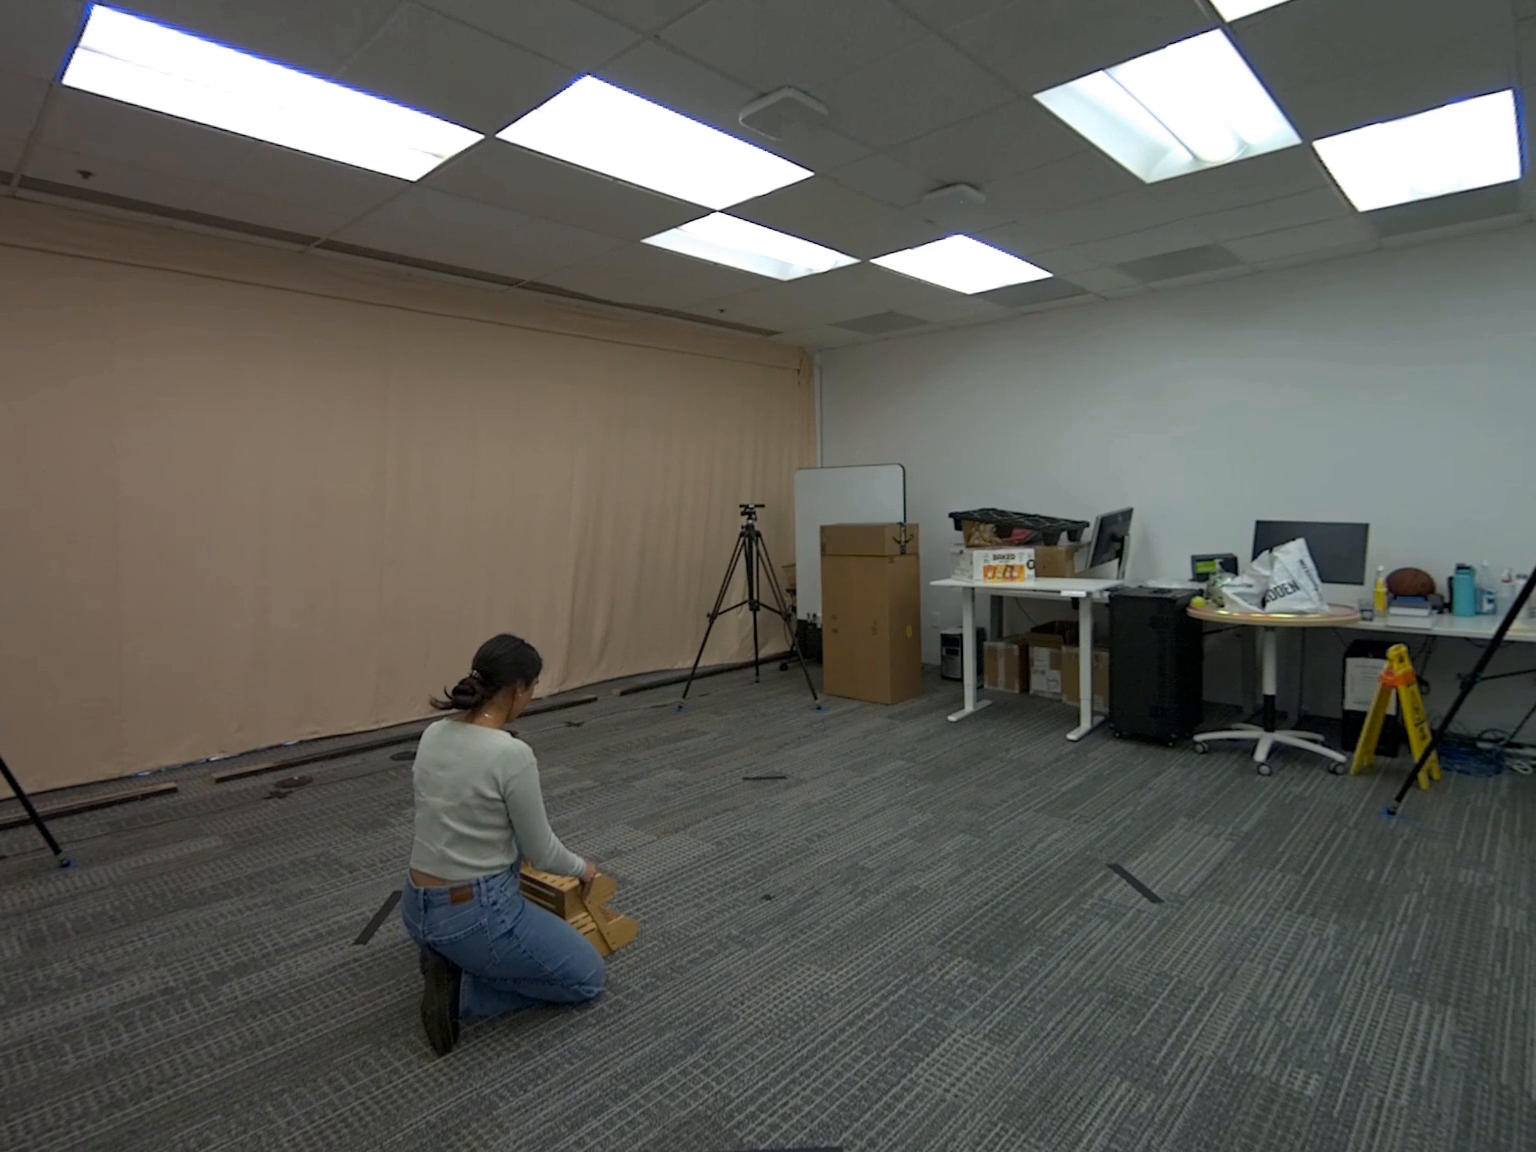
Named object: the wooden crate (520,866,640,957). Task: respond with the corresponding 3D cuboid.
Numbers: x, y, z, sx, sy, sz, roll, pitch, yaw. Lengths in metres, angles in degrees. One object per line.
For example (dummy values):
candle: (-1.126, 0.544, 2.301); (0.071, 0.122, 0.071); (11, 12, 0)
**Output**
wooden crate: (-0.628, 1.041, 2.712); (0.335, 0.273, 0.293); (1, 5, 39)
